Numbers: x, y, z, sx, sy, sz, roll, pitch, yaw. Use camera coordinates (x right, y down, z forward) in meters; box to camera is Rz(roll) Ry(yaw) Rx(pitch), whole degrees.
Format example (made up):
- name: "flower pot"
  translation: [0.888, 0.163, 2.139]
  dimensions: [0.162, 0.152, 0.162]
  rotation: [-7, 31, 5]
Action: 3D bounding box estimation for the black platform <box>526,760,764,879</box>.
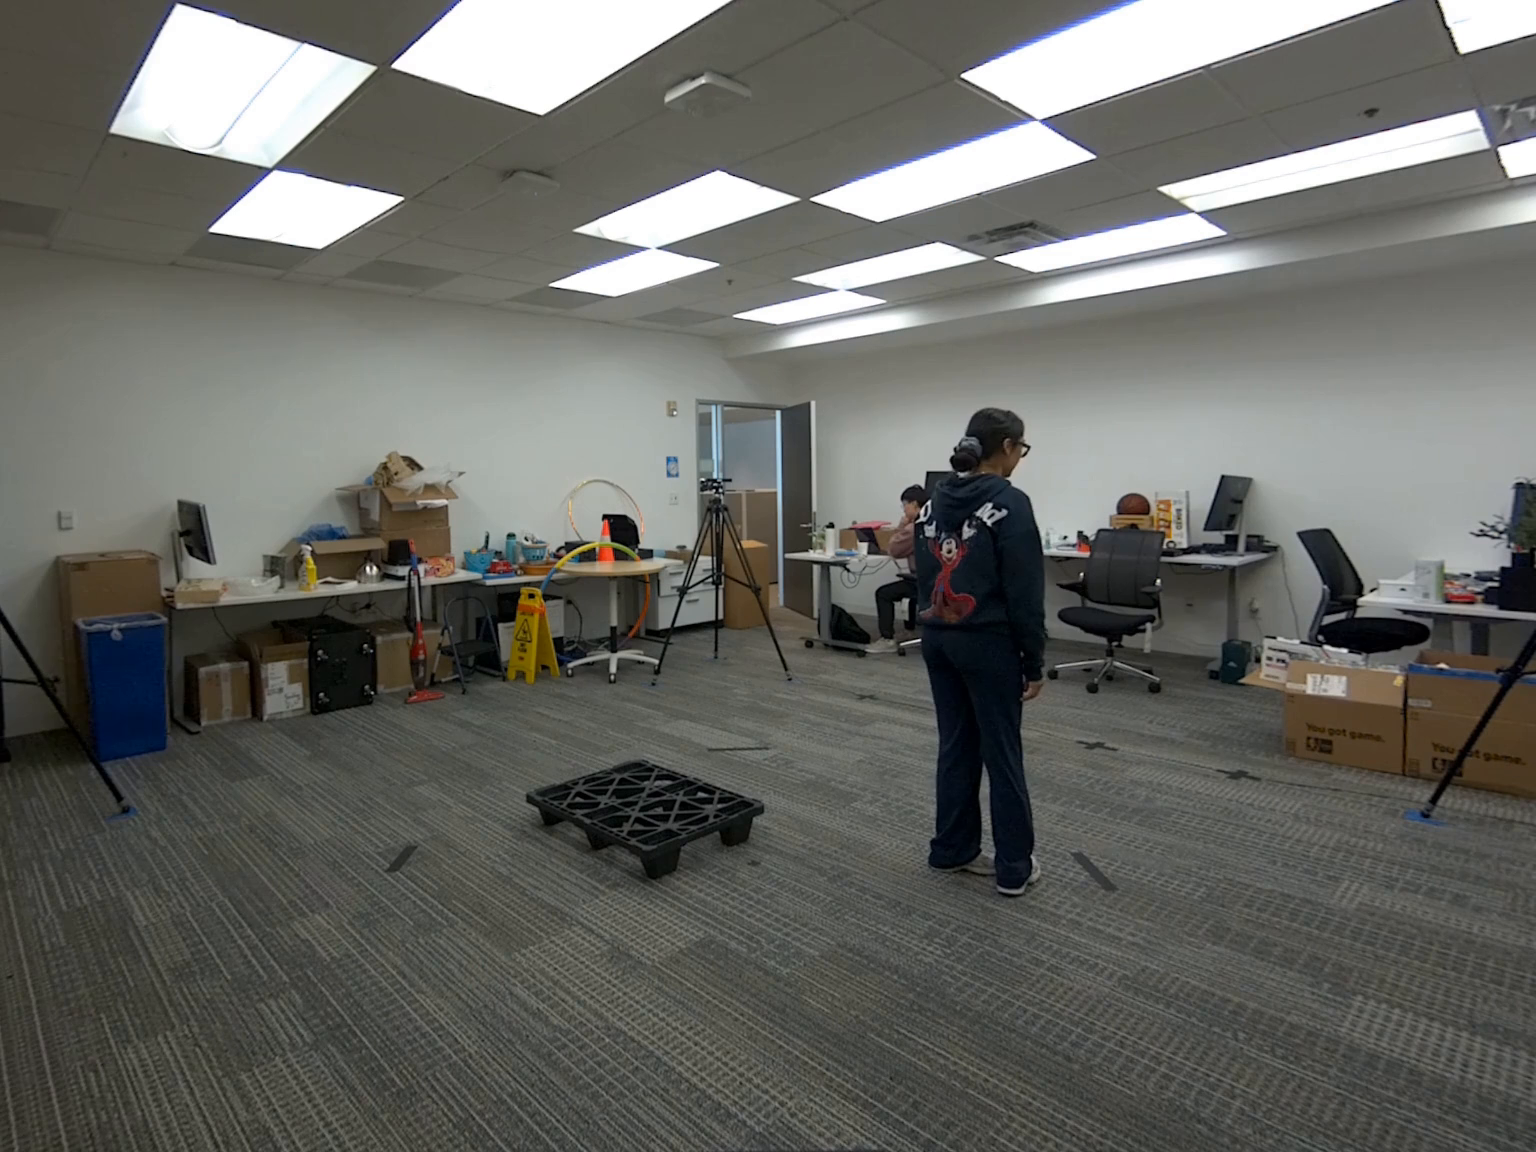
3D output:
- name: "black platform"
  translation: [-0.496, 0.956, 3.406]
  dimensions: [0.590, 0.142, 0.830]
  rotation: [-9, 10, -44]
